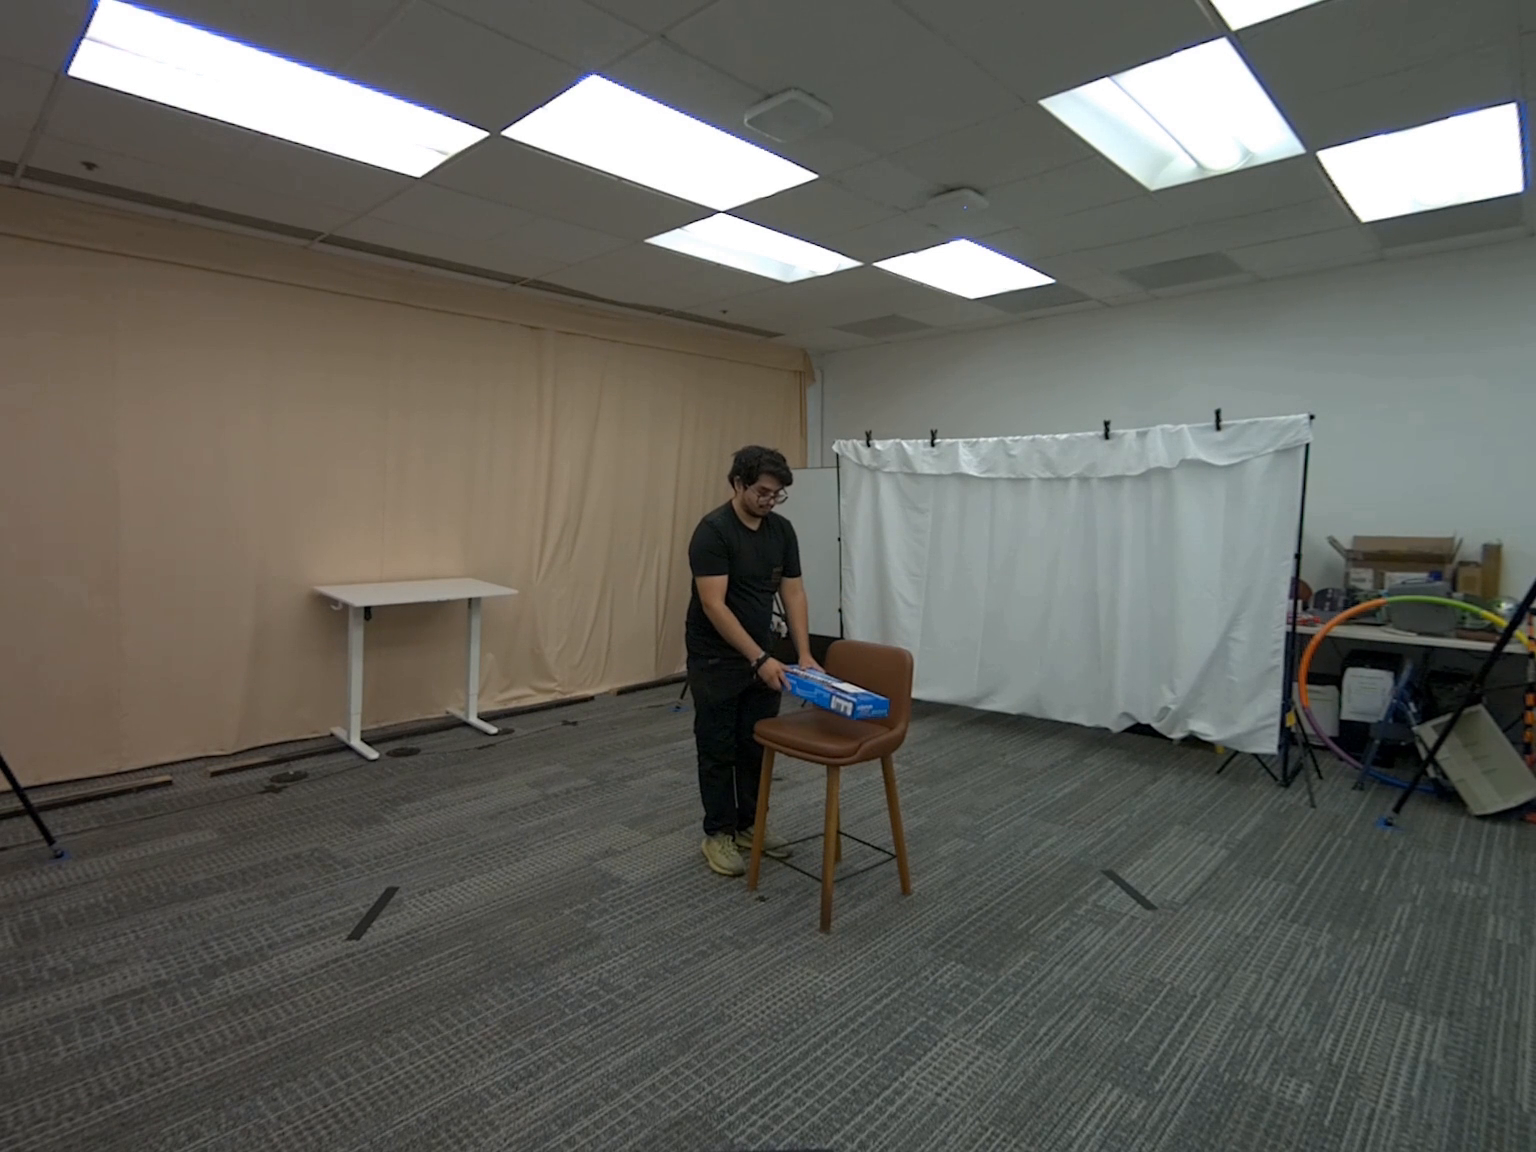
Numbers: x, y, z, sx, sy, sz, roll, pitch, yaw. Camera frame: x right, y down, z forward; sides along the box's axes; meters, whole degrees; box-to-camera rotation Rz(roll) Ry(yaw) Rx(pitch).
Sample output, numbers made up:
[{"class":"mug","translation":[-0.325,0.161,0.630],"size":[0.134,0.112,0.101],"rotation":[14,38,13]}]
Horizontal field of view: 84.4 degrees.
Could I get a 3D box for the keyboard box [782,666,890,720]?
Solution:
[{"class":"keyboard box","translation":[0.200,0.394,2.936],"size":[0.170,0.059,0.452],"rotation":[4,8,-39]}]
